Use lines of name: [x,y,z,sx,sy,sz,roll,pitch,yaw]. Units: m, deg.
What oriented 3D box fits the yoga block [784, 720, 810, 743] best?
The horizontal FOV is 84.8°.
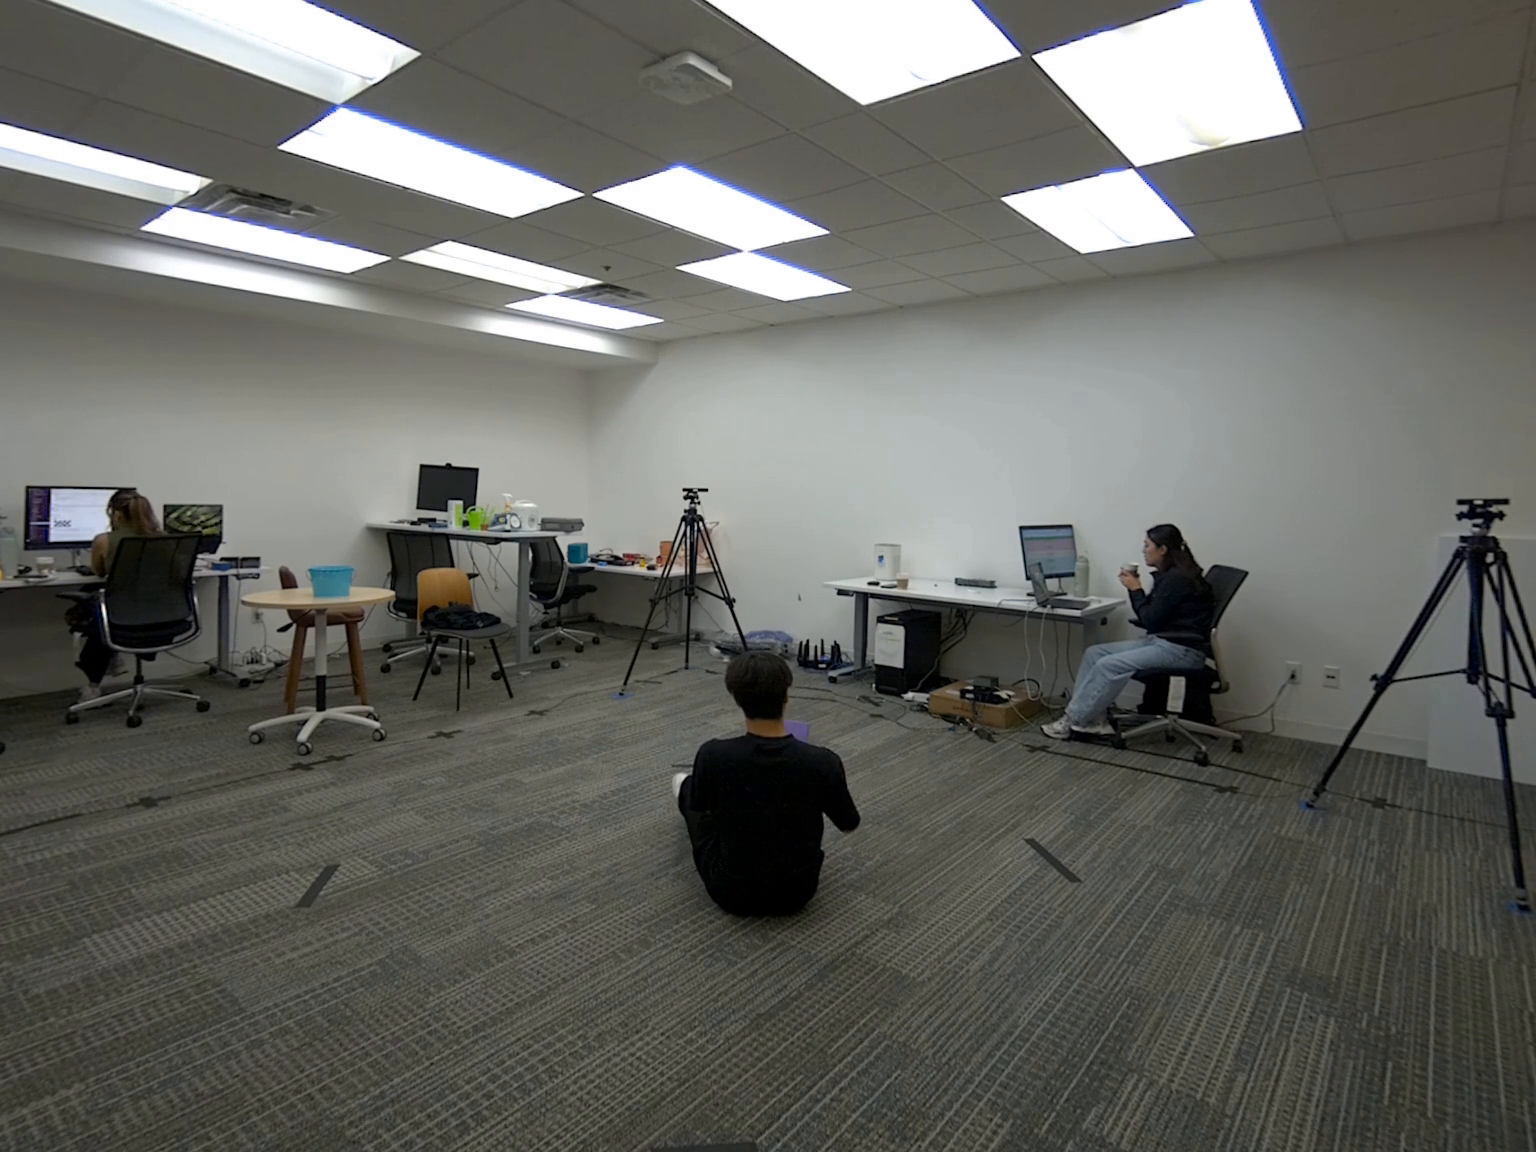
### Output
yoga block: [0.085,0.648,3.163,0.150,0.074,0.235,3,45,4]
